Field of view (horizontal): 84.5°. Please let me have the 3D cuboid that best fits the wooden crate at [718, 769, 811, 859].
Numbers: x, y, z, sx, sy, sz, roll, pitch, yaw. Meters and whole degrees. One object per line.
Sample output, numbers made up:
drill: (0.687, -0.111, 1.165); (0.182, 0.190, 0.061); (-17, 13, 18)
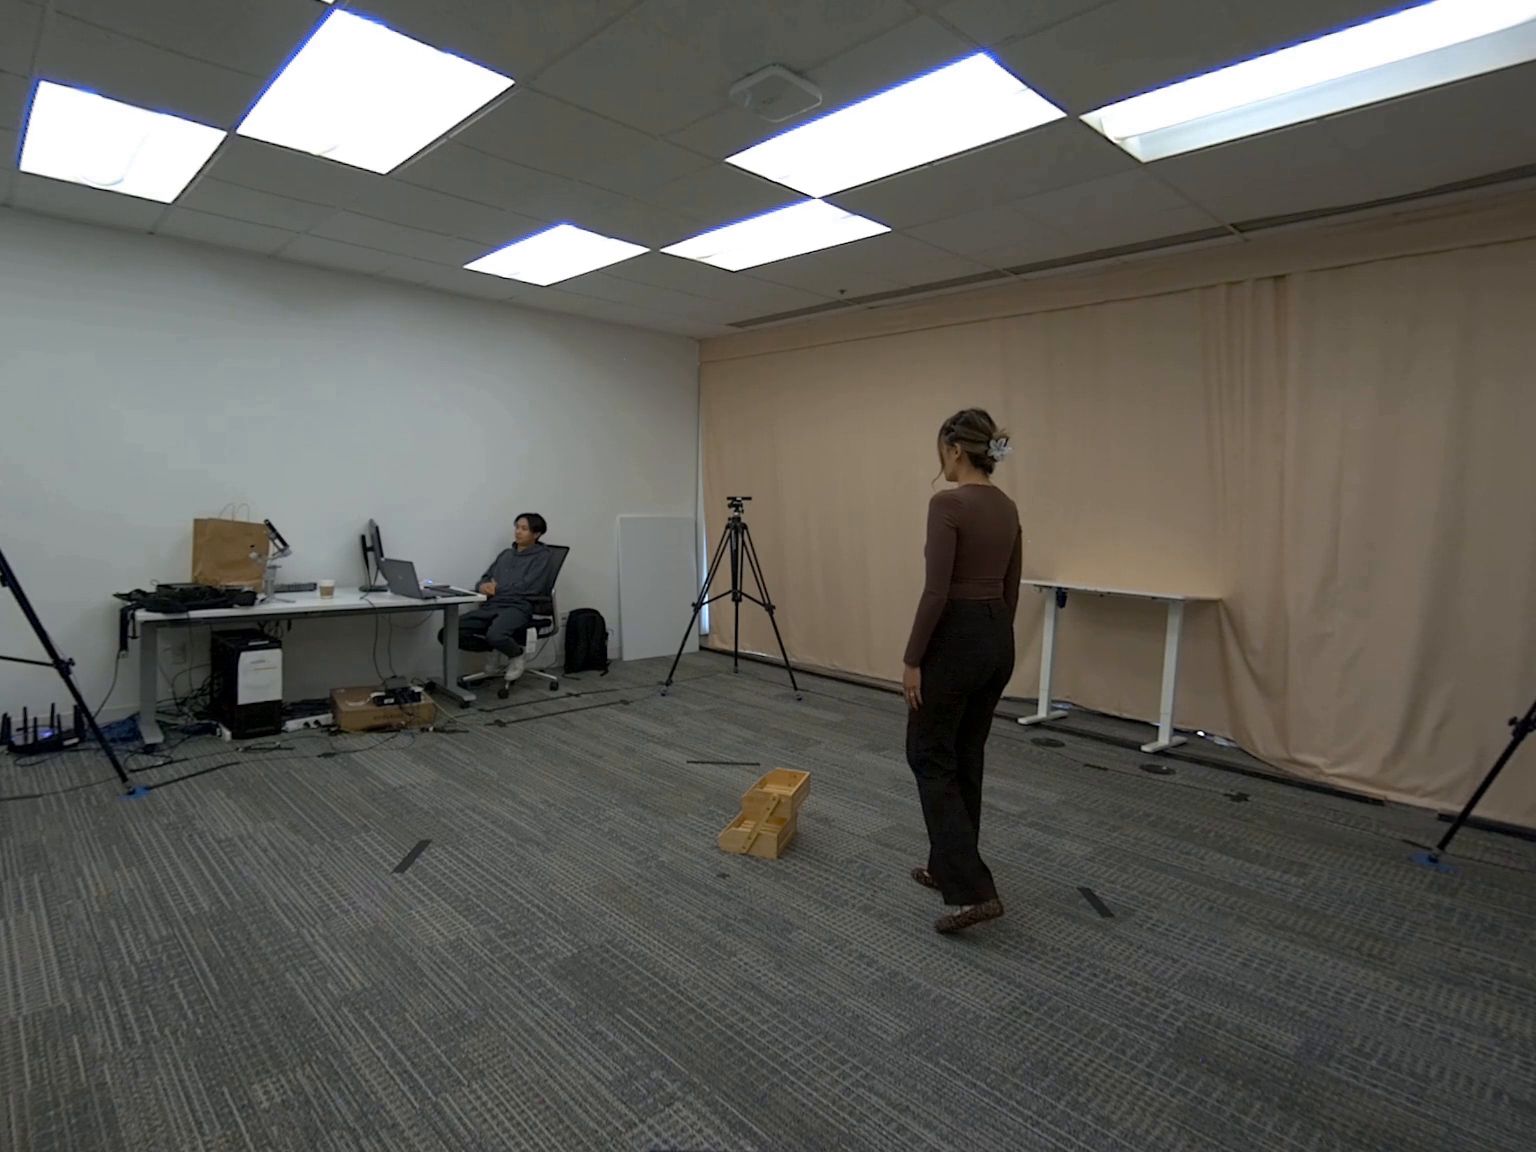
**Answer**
wooden crate: (-0.026, 0.947, 3.424); (0.306, 0.272, 0.321); (3, 4, 17)
